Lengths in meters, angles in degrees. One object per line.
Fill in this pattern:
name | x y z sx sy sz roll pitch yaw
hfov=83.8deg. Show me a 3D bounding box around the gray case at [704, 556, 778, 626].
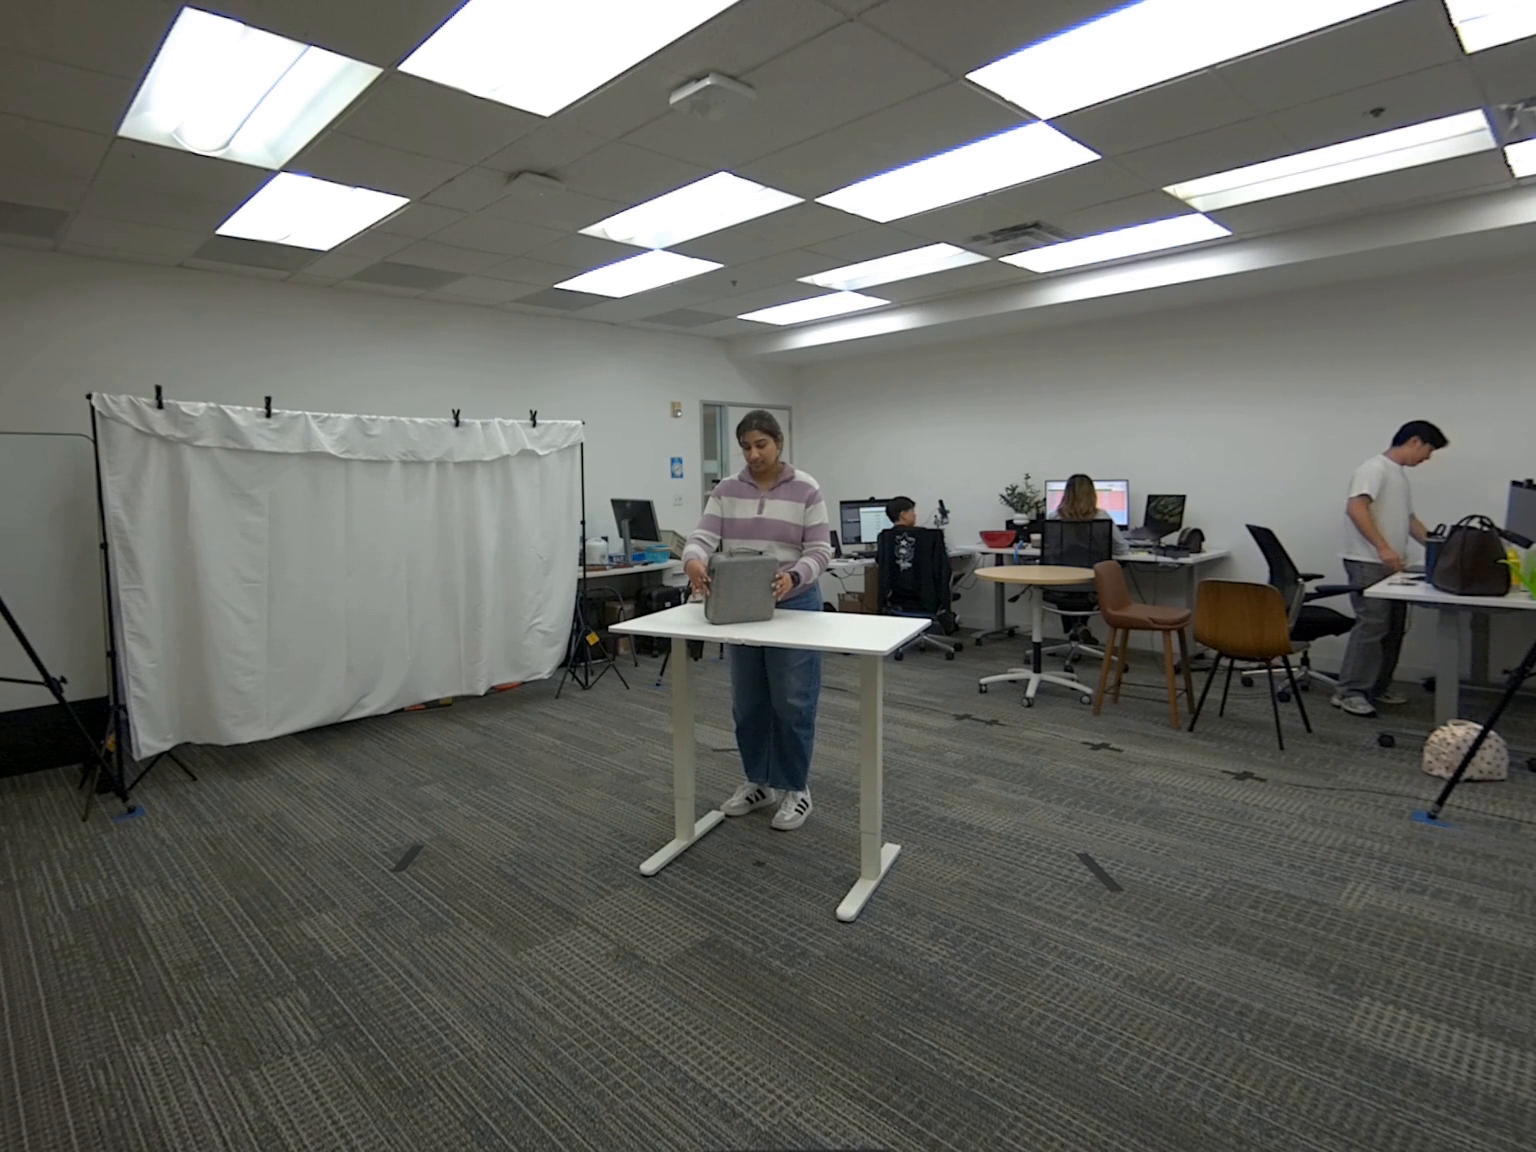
gray case | -0.089 0.040 3.073 0.252 0.257 0.108 -3 18 -24
